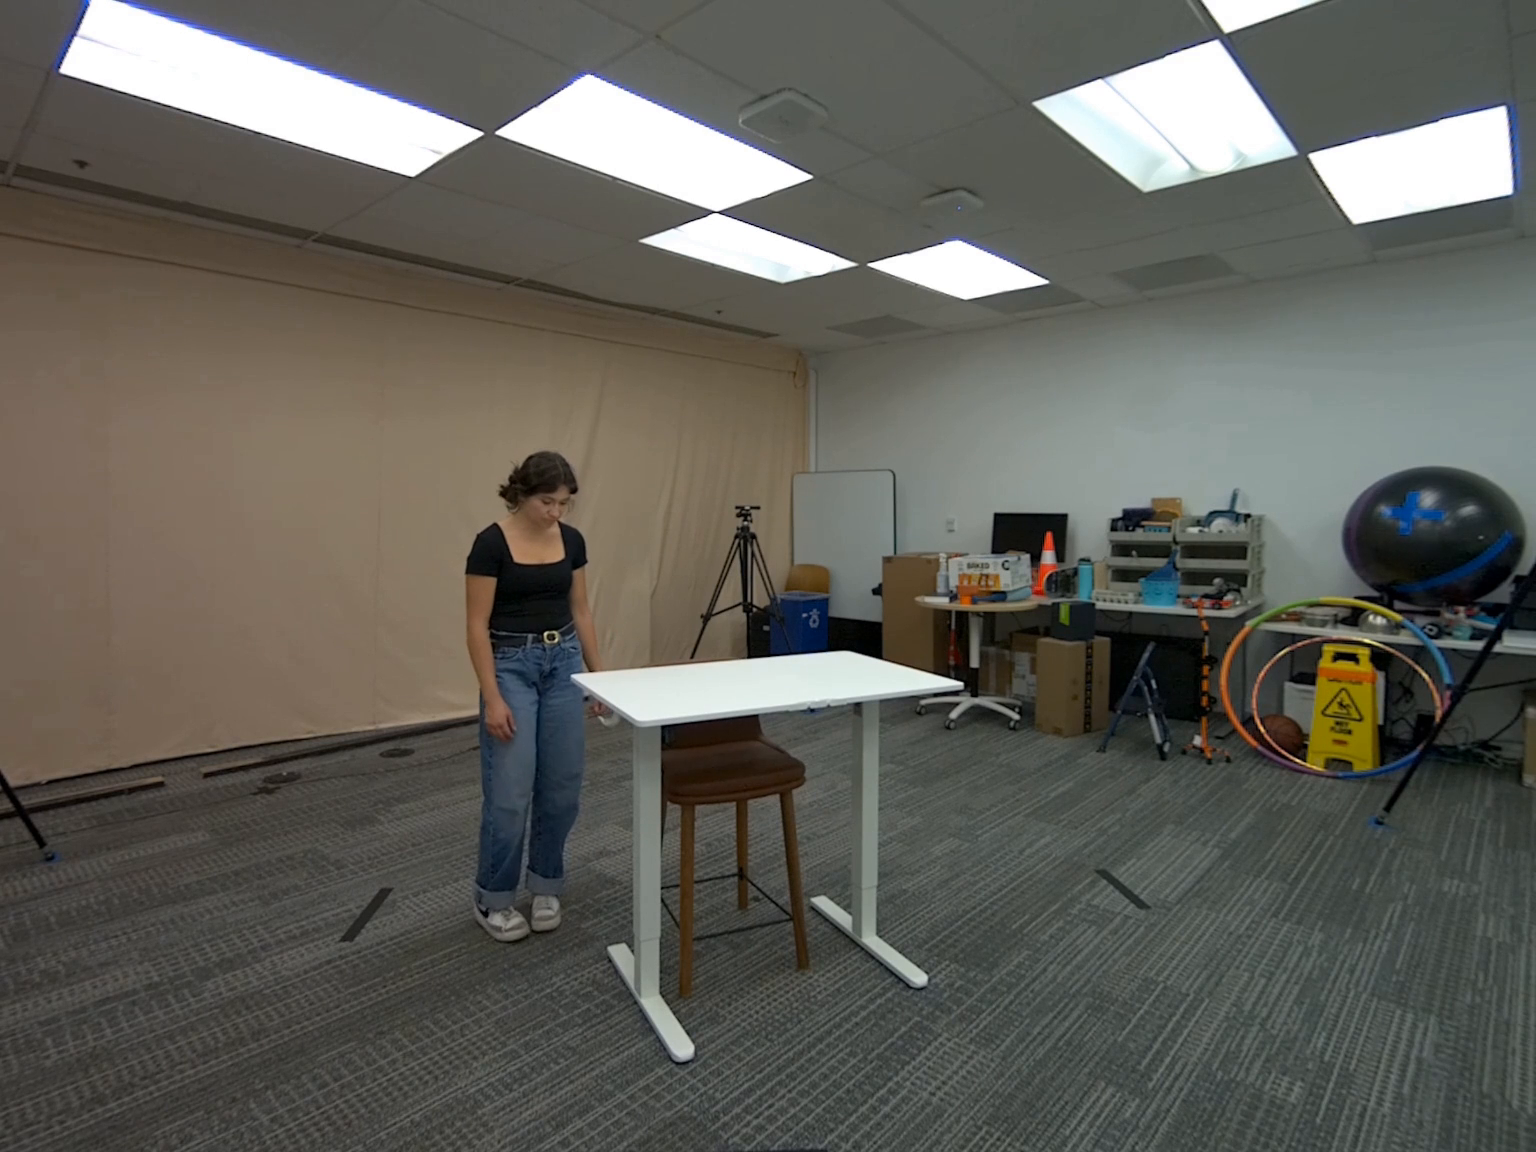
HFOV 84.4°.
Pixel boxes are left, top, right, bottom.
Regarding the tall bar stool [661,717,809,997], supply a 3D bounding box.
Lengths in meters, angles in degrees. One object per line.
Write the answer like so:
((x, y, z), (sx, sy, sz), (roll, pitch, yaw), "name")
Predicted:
((-0.158, 0.746, 2.639), (0.446, 0.889, 0.479), (-2, 1, -24), "tall bar stool")
